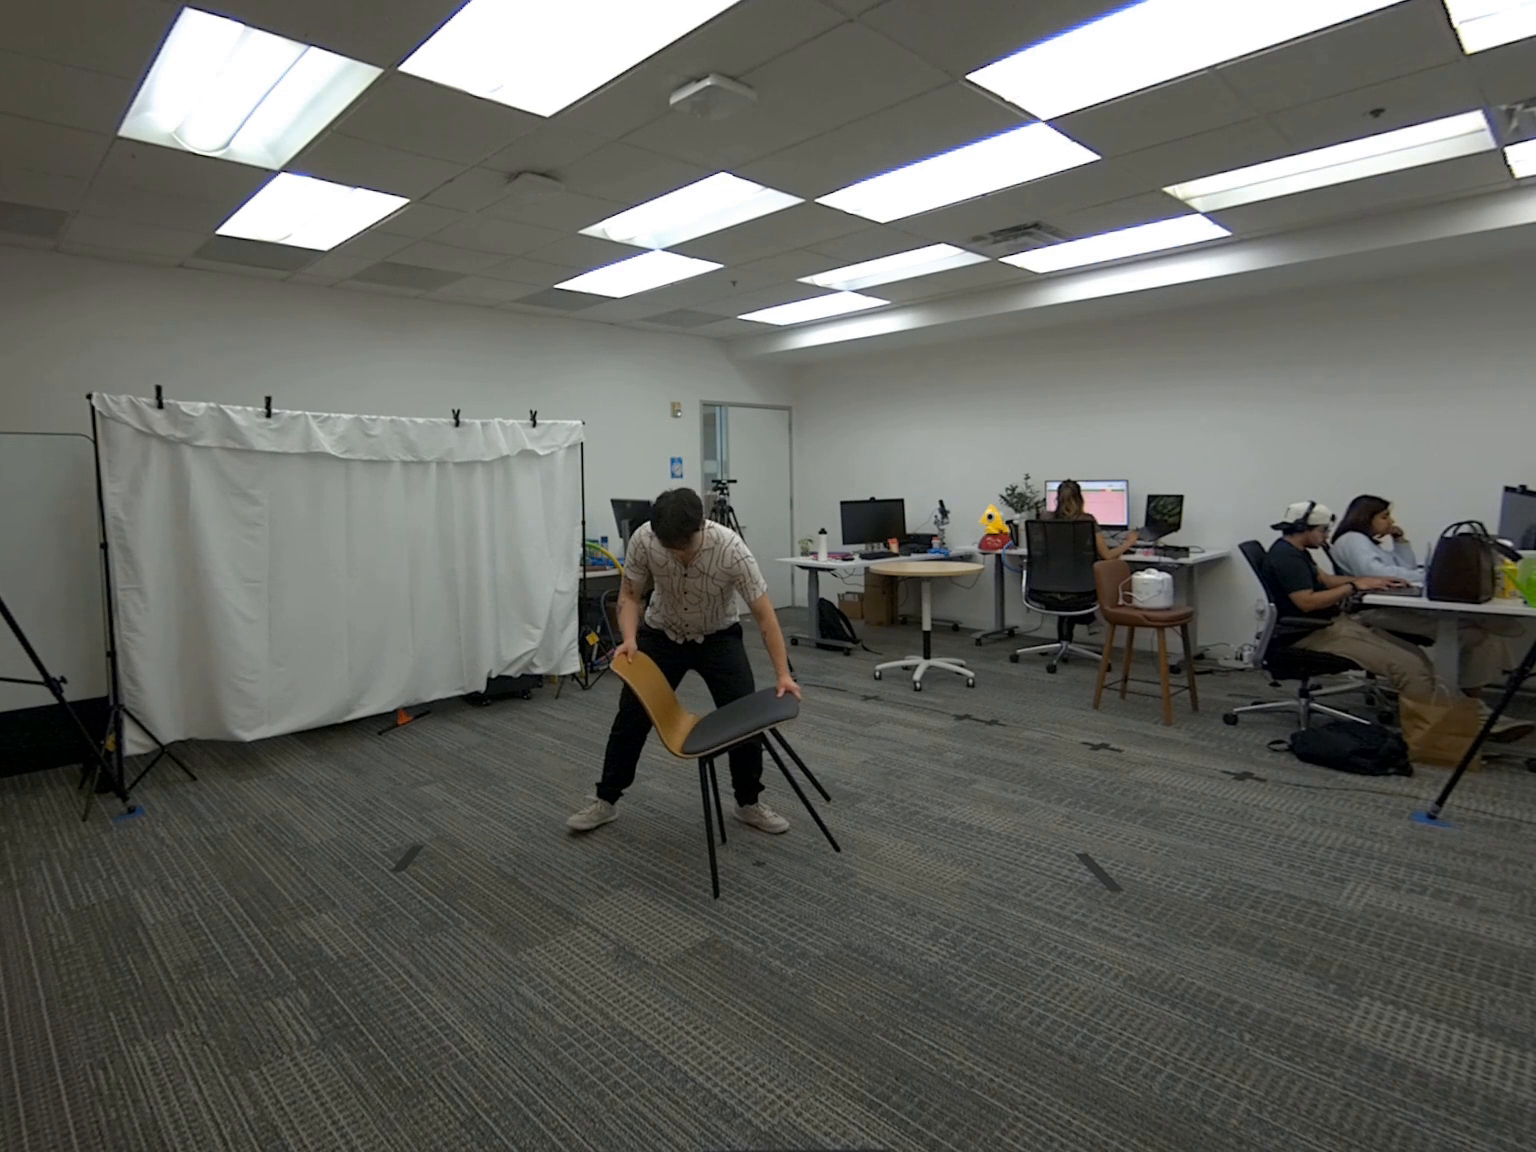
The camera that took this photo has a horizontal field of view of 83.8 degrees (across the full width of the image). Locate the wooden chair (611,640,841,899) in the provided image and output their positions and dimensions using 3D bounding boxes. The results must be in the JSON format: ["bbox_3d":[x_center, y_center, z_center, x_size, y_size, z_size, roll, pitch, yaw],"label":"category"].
[{"bbox_3d":[-0.124,0.579,3.034,0.524,0.875,0.479,-27,3,3],"label":"wooden chair"}]
